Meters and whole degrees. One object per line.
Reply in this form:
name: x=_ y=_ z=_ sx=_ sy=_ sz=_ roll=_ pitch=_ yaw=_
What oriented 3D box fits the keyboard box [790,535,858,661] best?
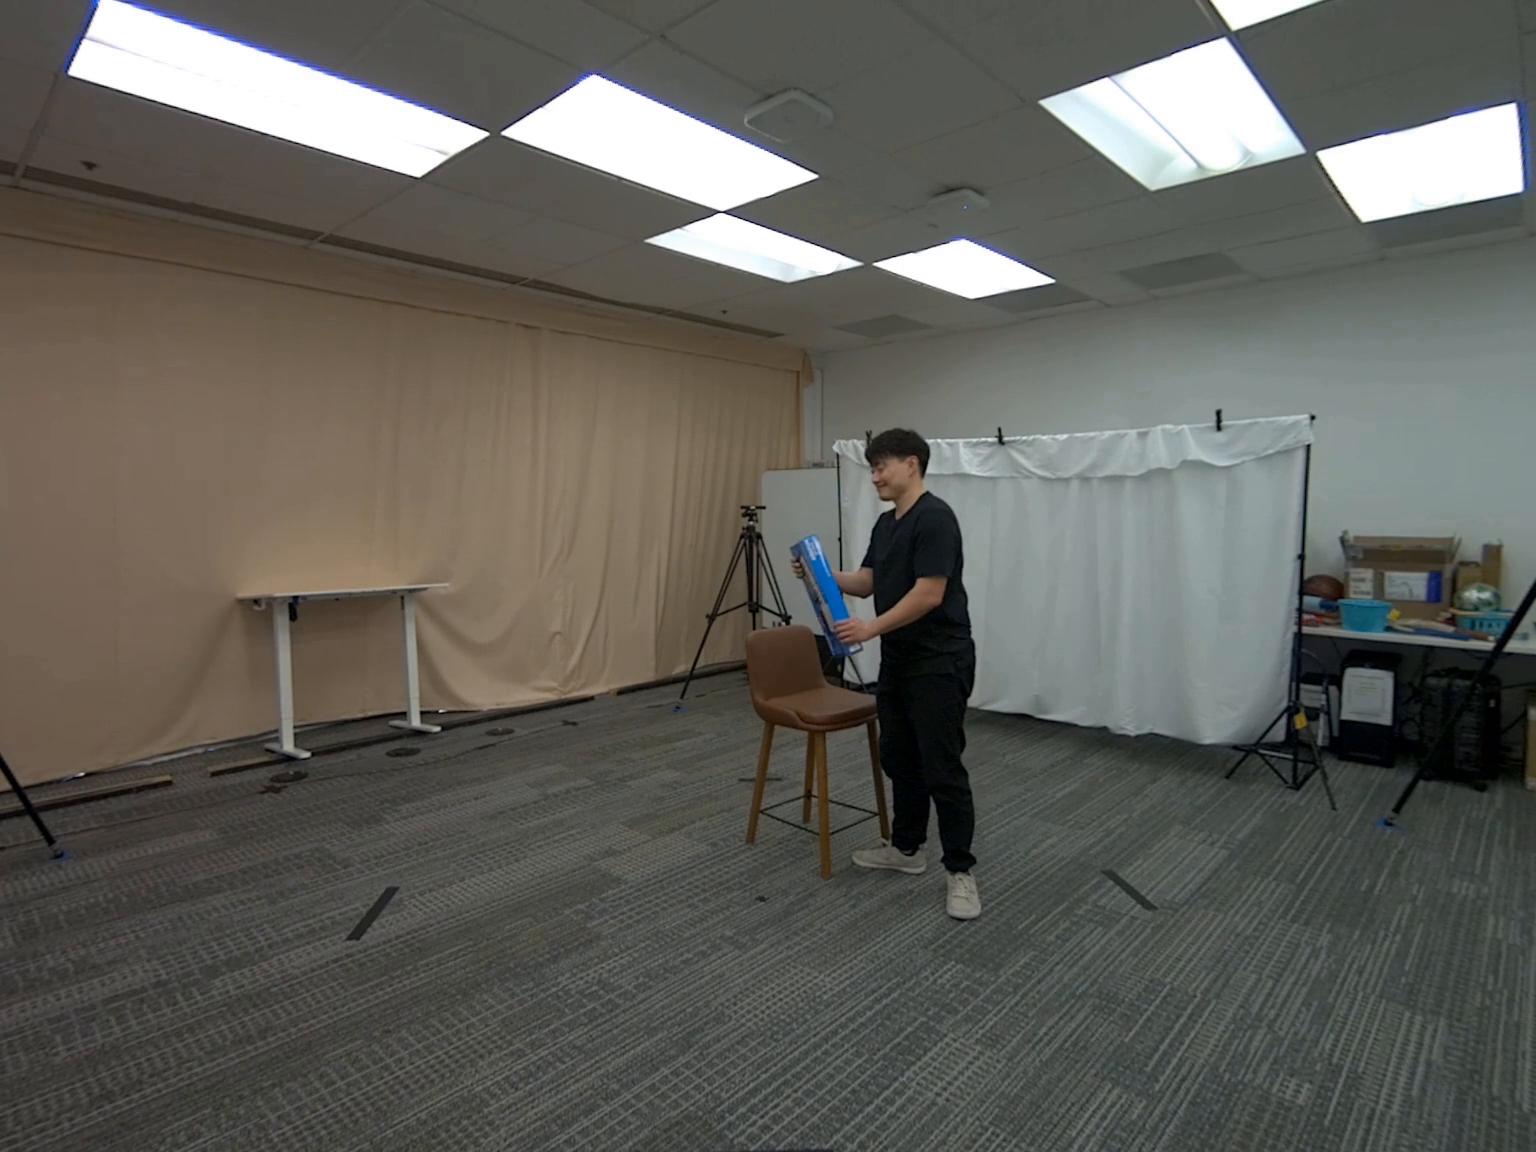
keyboard box: x=0.214 y=0.080 z=3.030 sx=0.058 sy=0.439 sz=0.177 roll=-19 pitch=-6 yaw=-15
